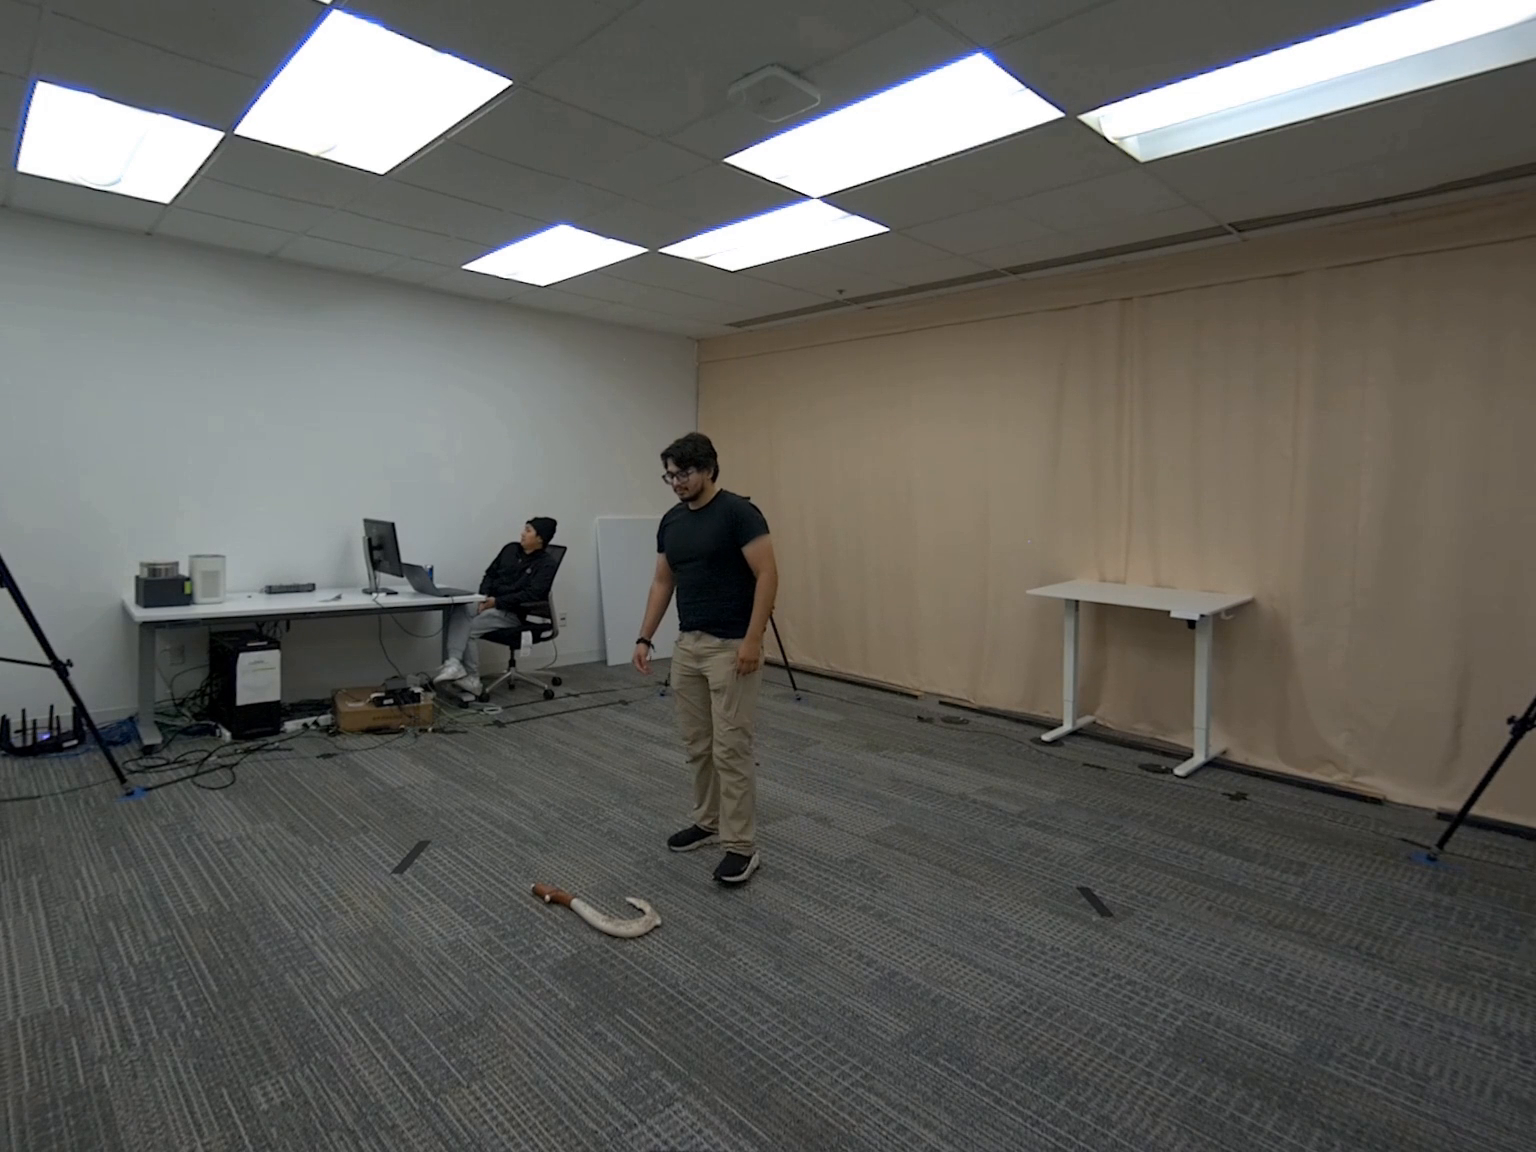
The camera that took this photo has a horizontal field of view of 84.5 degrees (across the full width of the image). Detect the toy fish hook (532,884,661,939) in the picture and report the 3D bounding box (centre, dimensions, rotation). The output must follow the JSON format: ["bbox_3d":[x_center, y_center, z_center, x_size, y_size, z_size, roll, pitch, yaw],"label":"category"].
[{"bbox_3d":[-0.590,1.107,2.831,0.519,0.048,0.219,6,0,34],"label":"toy fish hook"}]
